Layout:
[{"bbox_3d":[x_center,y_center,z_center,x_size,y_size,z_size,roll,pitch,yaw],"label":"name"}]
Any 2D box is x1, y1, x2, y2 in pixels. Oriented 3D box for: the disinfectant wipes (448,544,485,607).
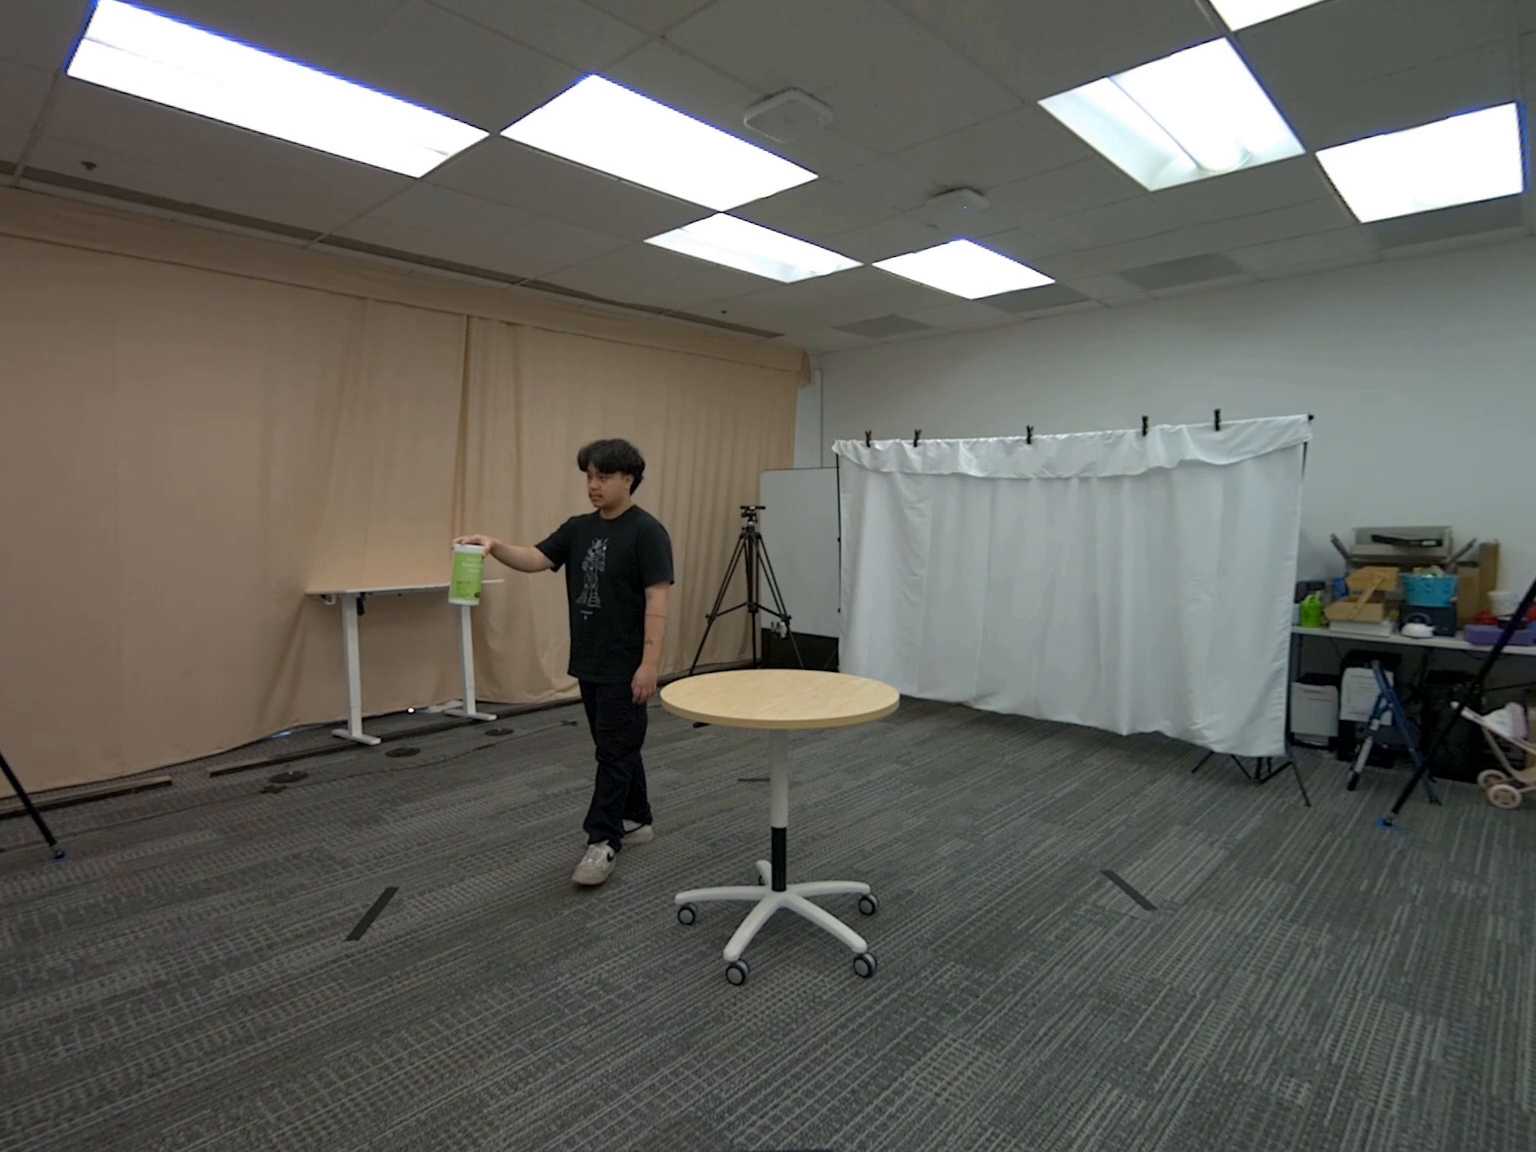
[{"bbox_3d":[-1.081,-0.004,3.019,0.118,0.217,0.118,4,0,-2],"label":"disinfectant wipes"}]
